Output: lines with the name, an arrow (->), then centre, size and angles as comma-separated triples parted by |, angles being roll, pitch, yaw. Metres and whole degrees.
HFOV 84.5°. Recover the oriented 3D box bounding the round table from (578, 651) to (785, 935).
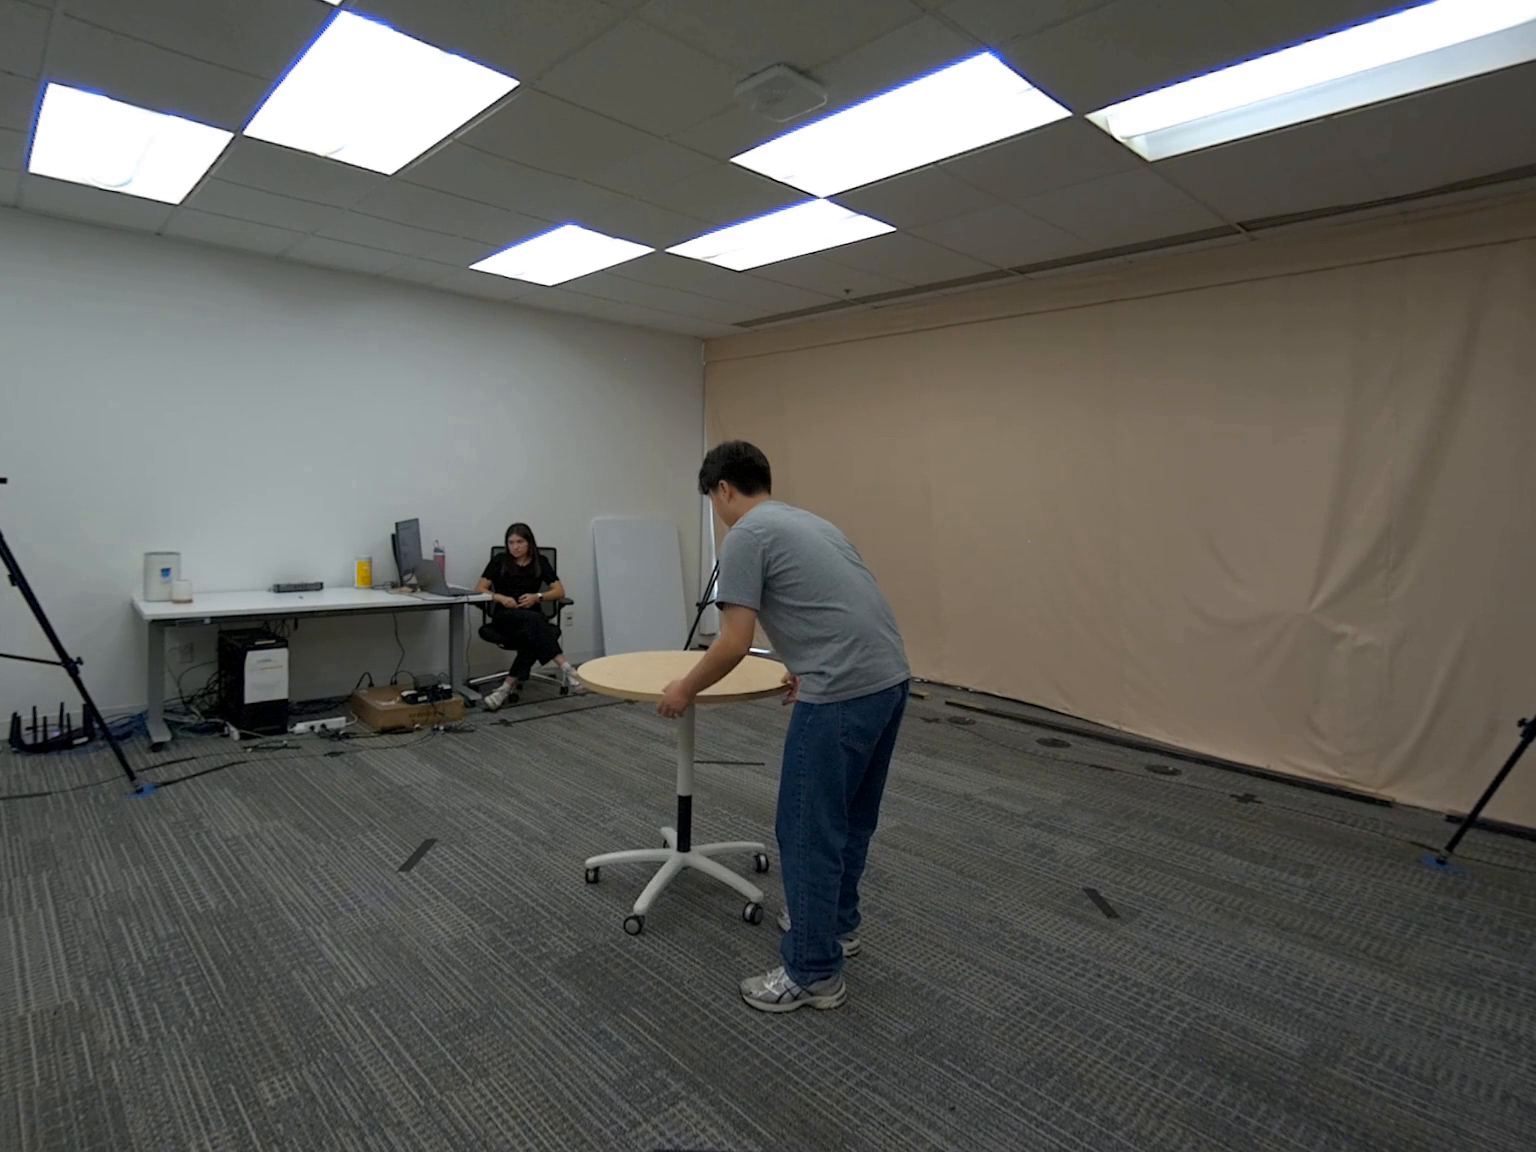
round table -> -0.295, 0.724, 2.970 | 0.763, 0.792, 0.766 | 1, 4, -1
